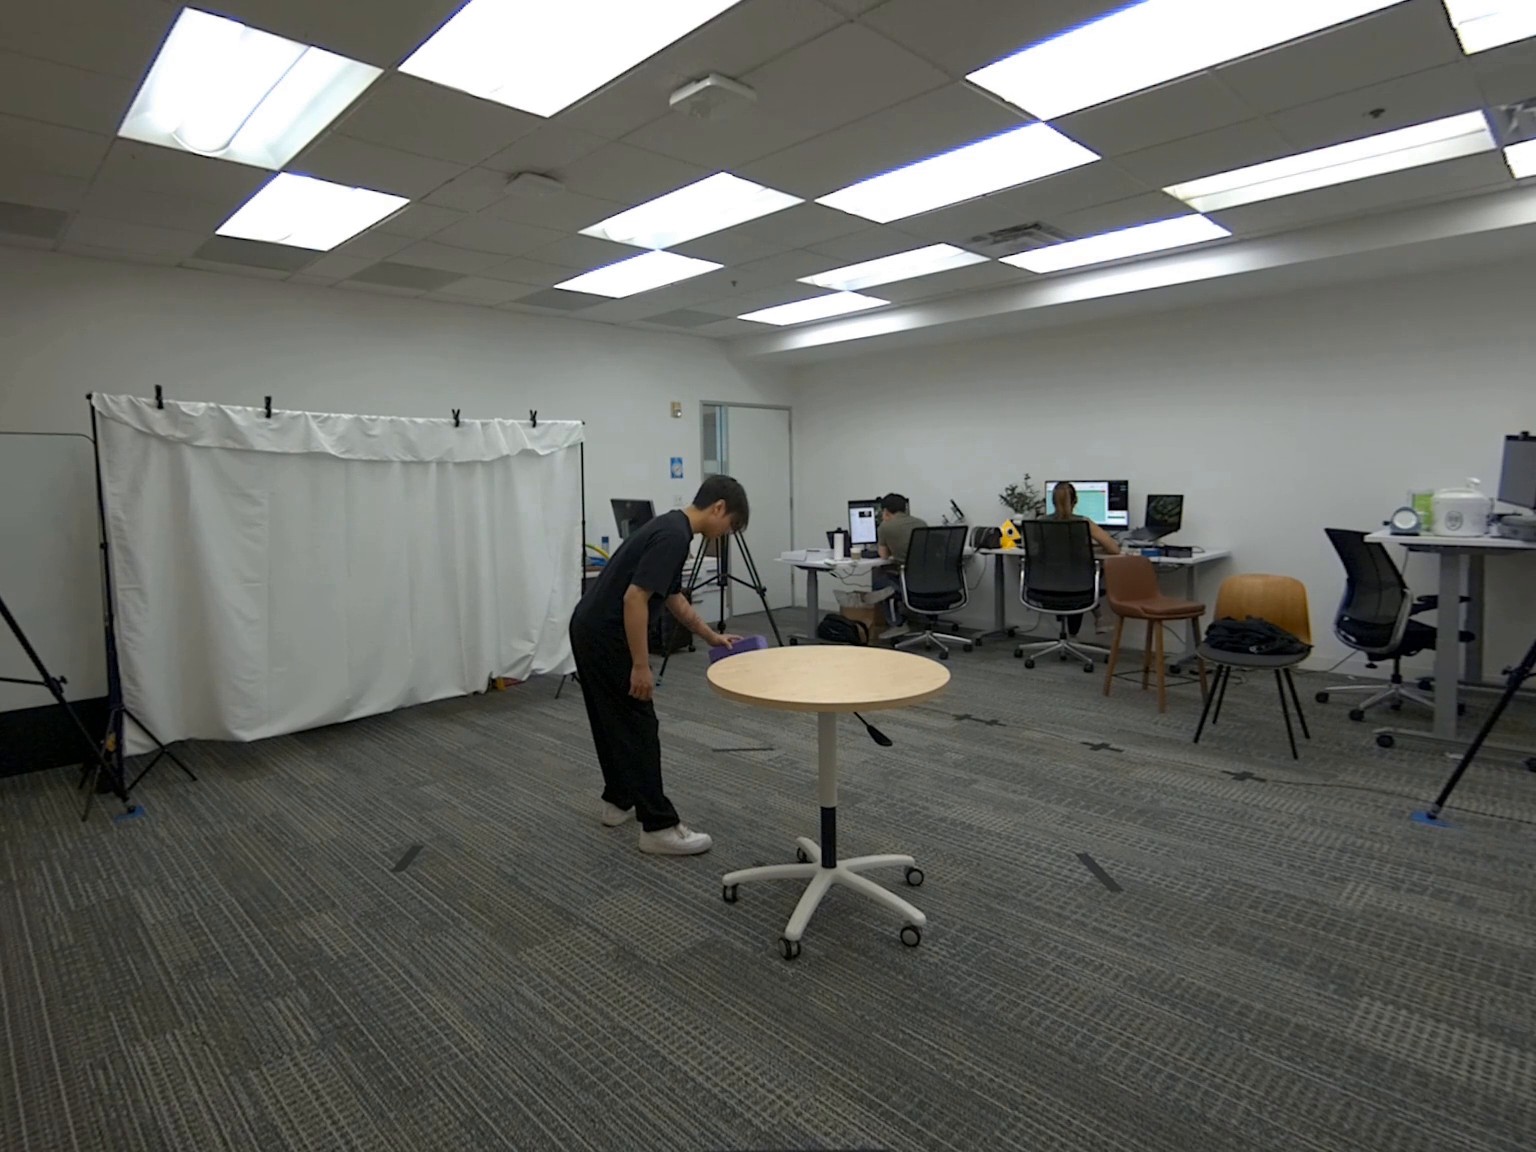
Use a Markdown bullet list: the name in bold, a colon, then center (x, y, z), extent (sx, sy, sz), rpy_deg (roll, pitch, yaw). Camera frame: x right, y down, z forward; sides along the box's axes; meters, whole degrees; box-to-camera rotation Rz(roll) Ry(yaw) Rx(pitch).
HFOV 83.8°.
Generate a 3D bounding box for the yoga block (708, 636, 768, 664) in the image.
- **yoga block**: center (-0.129, 0.326, 3.695), extent (0.231, 0.077, 0.146), rpy_deg (-18, -11, 13)
